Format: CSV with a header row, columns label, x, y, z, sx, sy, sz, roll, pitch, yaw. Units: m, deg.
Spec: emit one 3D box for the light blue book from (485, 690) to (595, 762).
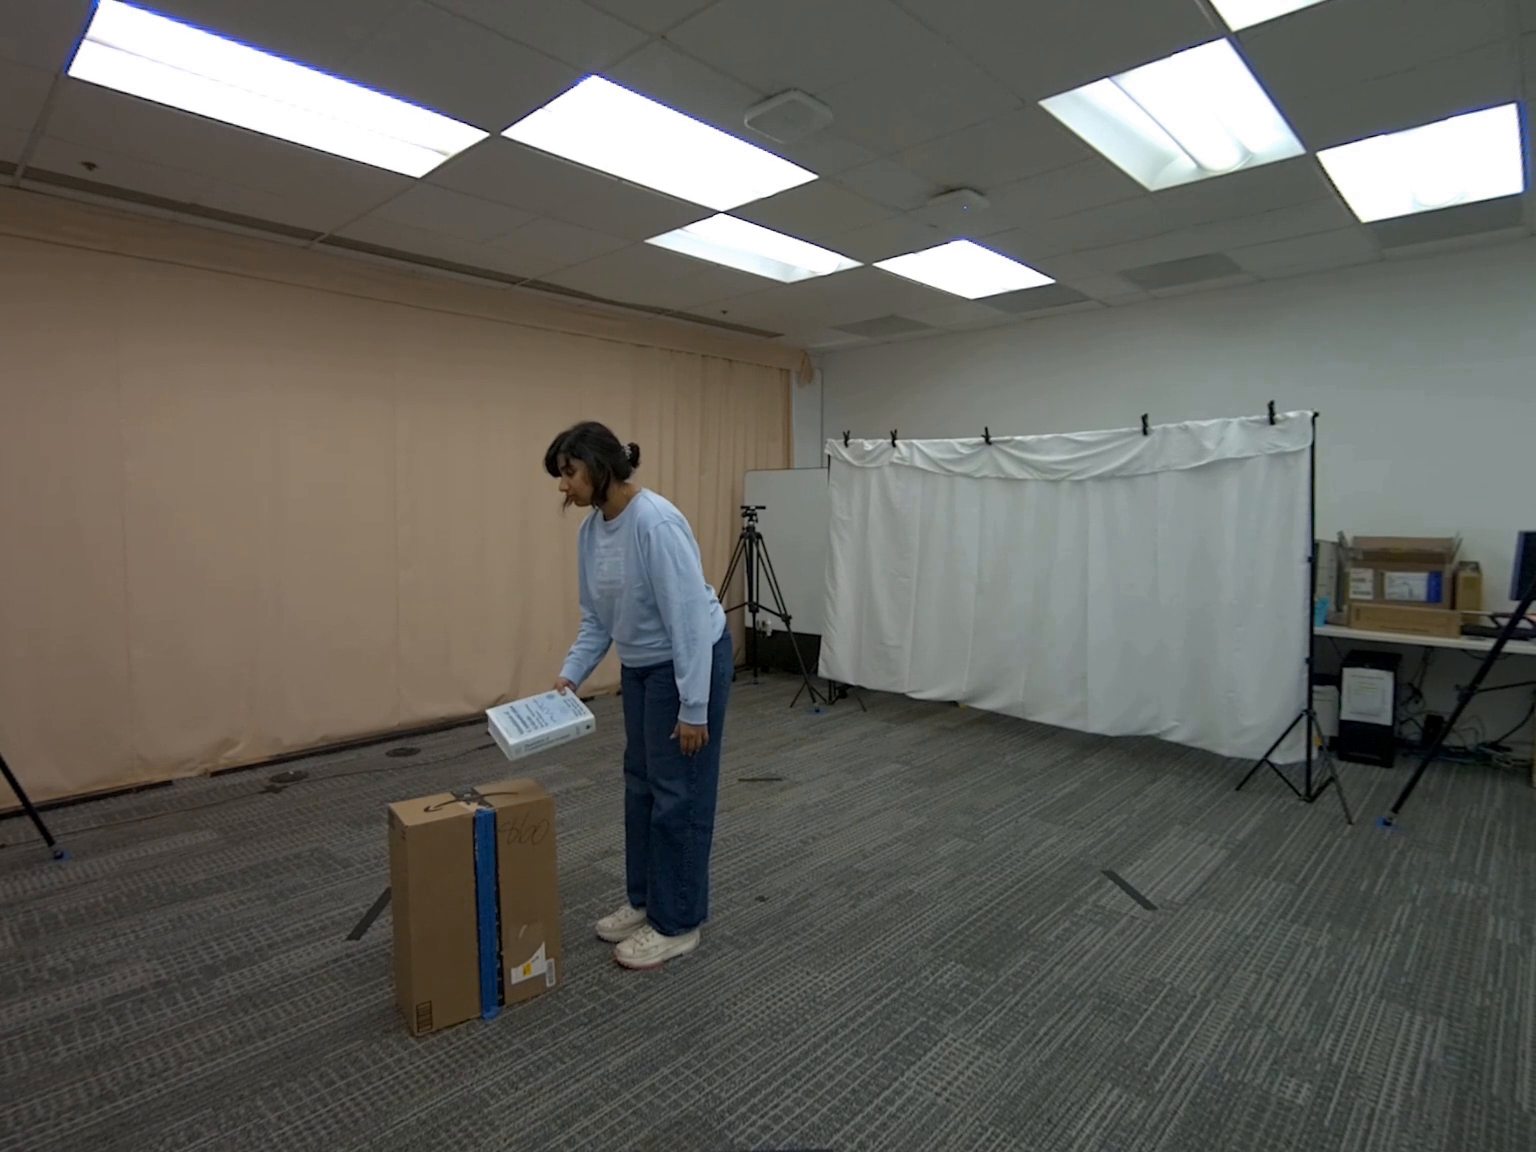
label,x,y,z,sx,sy,sz,roll,pitch,yaw
light blue book,-0.670,0.423,2.469,0.255,0.058,0.198,-14,29,-32
